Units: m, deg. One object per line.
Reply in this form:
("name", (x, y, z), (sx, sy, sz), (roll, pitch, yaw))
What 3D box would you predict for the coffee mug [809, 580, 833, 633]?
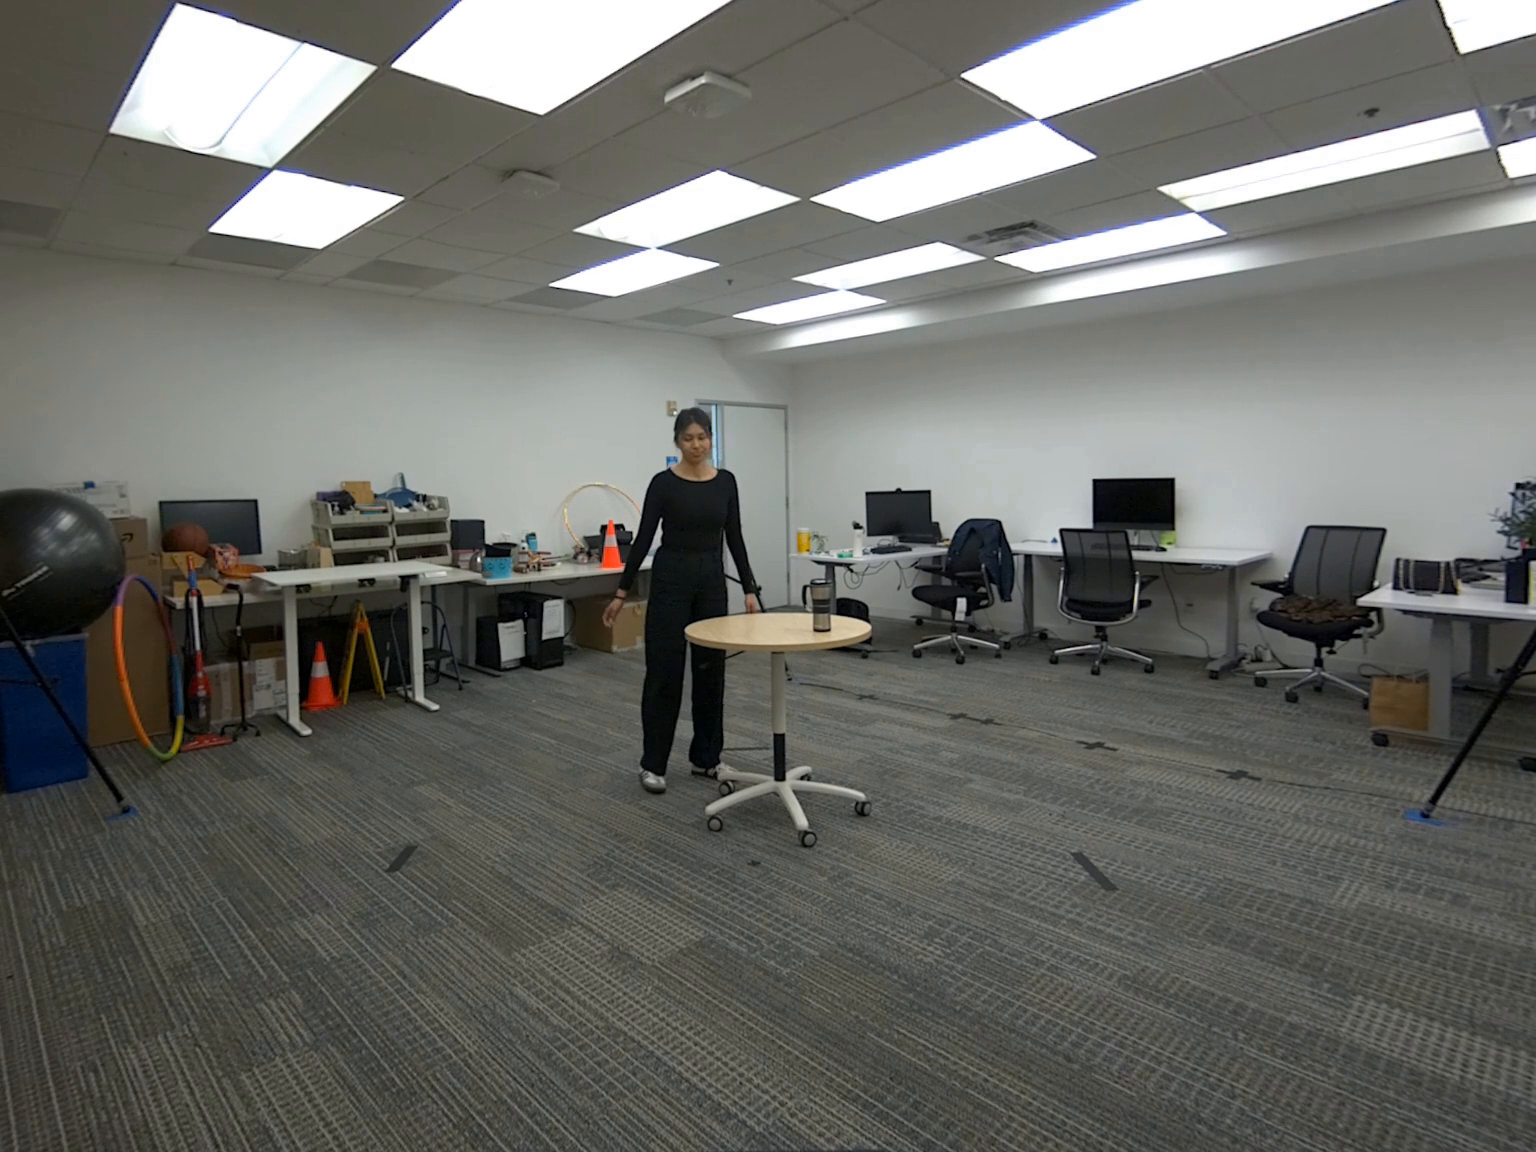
("coffee mug", (0.201, 0.115, 3.422), (0.086, 0.201, 0.126), (-6, 10, -30))
